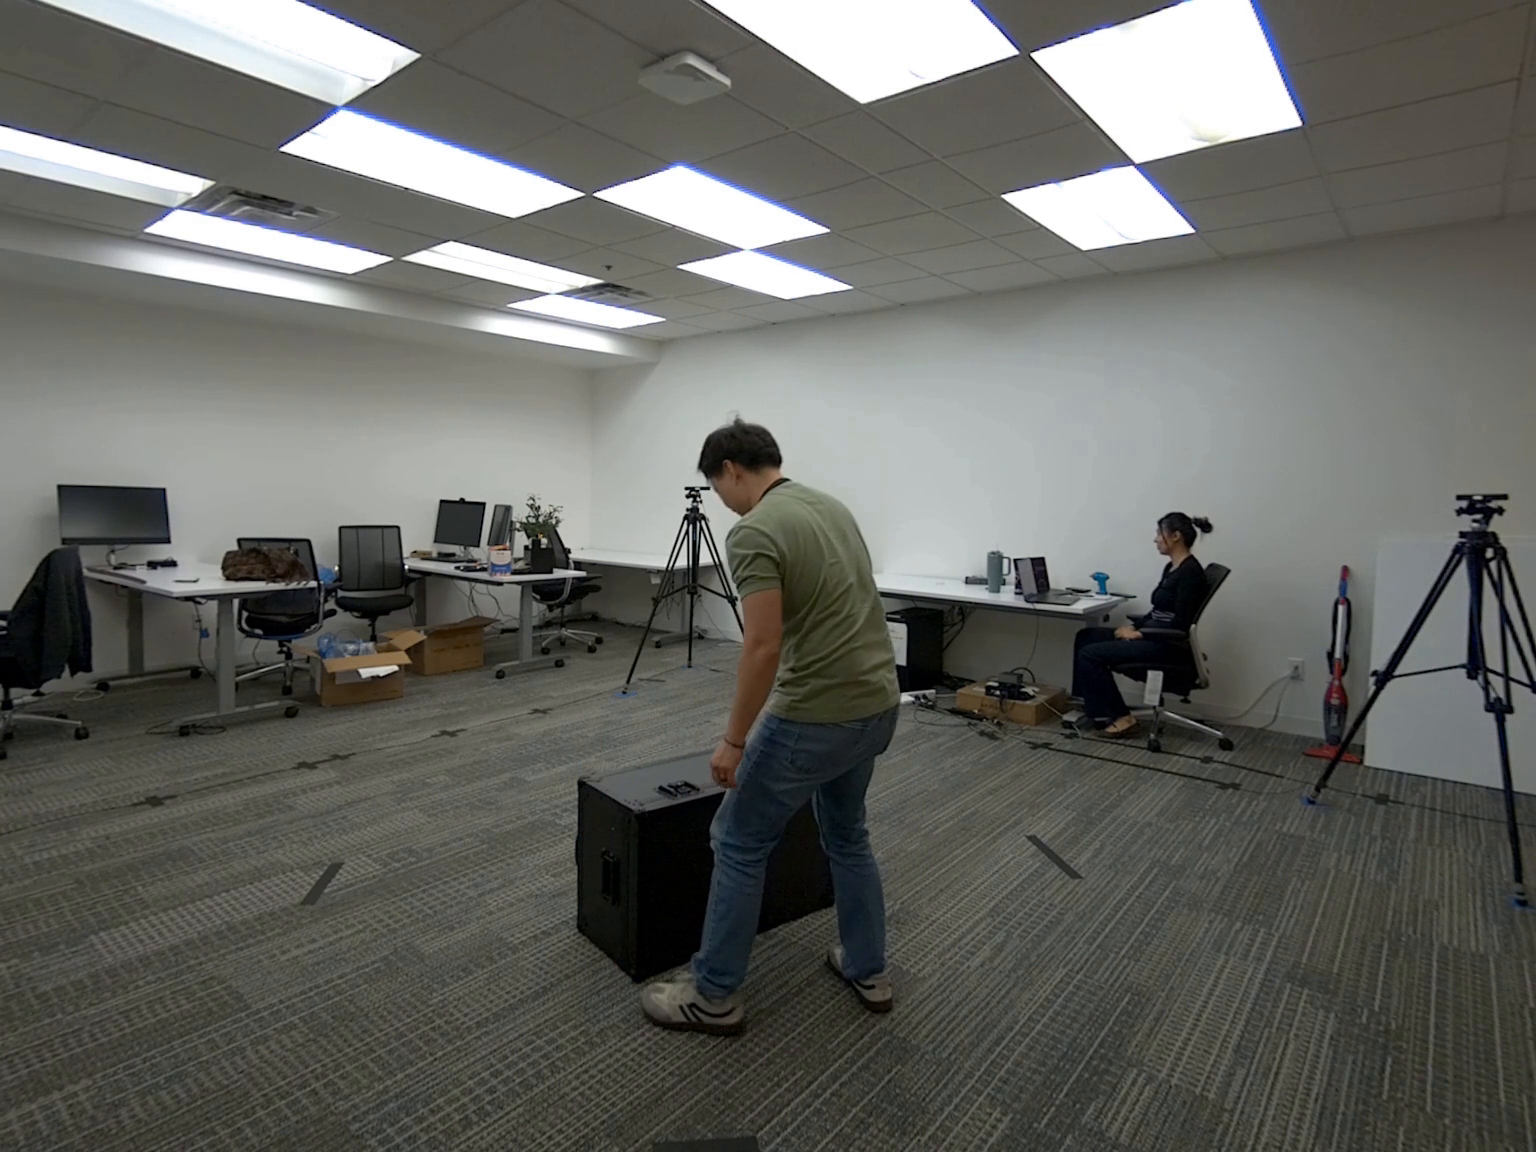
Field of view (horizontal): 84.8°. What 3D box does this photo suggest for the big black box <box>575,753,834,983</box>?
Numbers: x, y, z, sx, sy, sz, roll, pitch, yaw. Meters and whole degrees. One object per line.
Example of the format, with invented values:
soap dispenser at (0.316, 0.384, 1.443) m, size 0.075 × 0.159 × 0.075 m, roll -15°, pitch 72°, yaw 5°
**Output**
big black box at (-0.175, 0.858, 2.765) m, size 0.836 × 0.520 × 0.409 m, roll -2°, pitch 5°, yaw -38°
